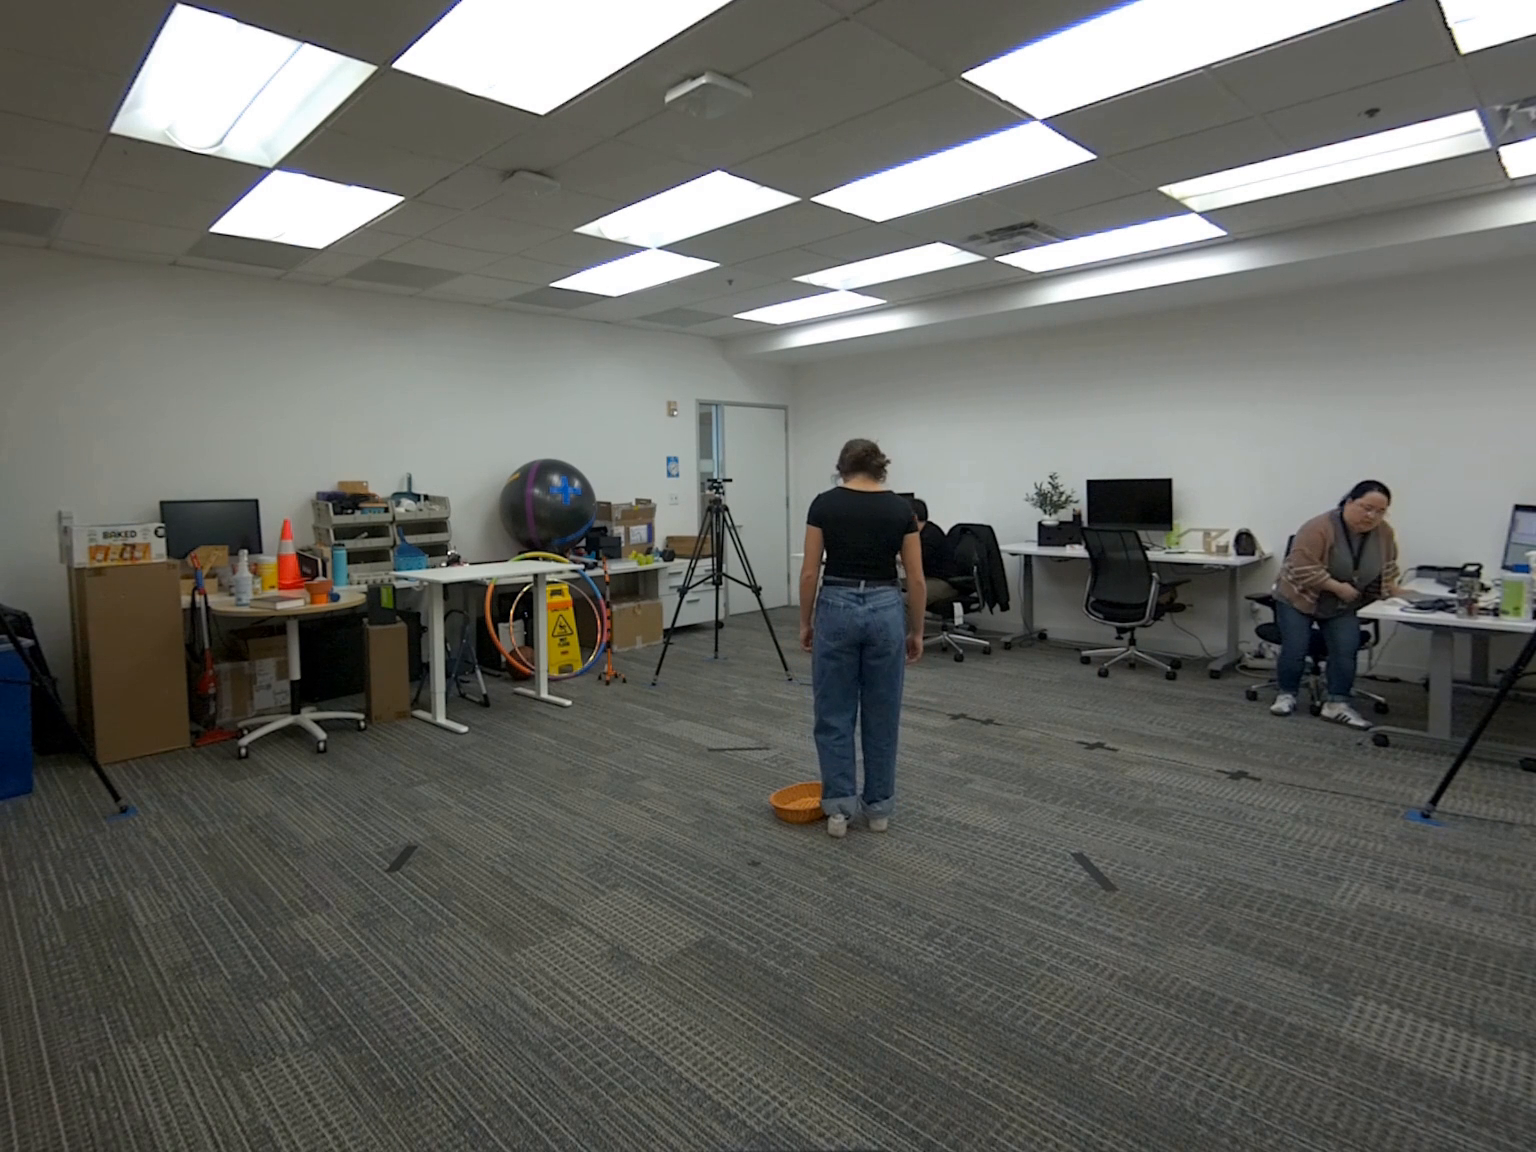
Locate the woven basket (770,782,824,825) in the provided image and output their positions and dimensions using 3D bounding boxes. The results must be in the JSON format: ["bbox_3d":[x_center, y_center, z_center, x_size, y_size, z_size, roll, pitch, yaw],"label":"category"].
[{"bbox_3d":[0.165,0.944,3.584,0.341,0.073,0.260,-7,8,-42],"label":"woven basket"}]
